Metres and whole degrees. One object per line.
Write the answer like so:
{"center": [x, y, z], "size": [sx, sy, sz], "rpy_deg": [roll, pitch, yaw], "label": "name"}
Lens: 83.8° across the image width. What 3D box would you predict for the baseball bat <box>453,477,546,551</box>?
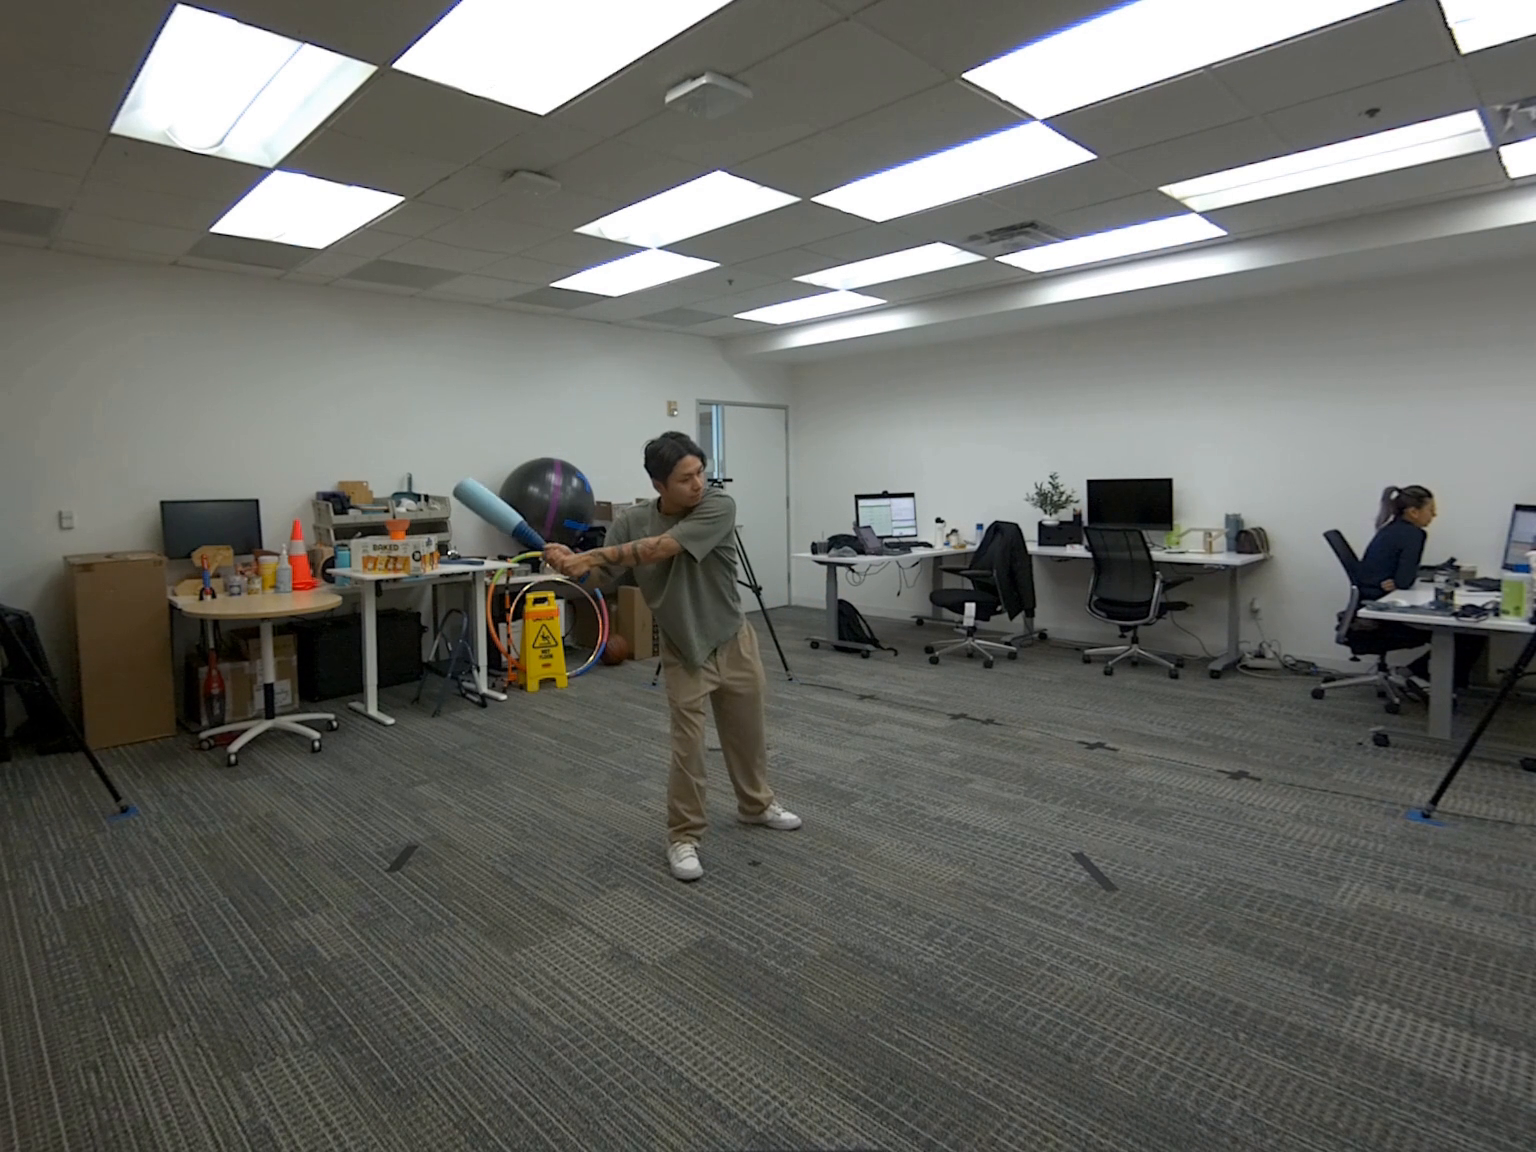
{"center": [-0.819, -0.142, 2.876], "size": [0.546, 0.089, 0.088], "rpy_deg": [36, 8, 4], "label": "baseball bat"}
